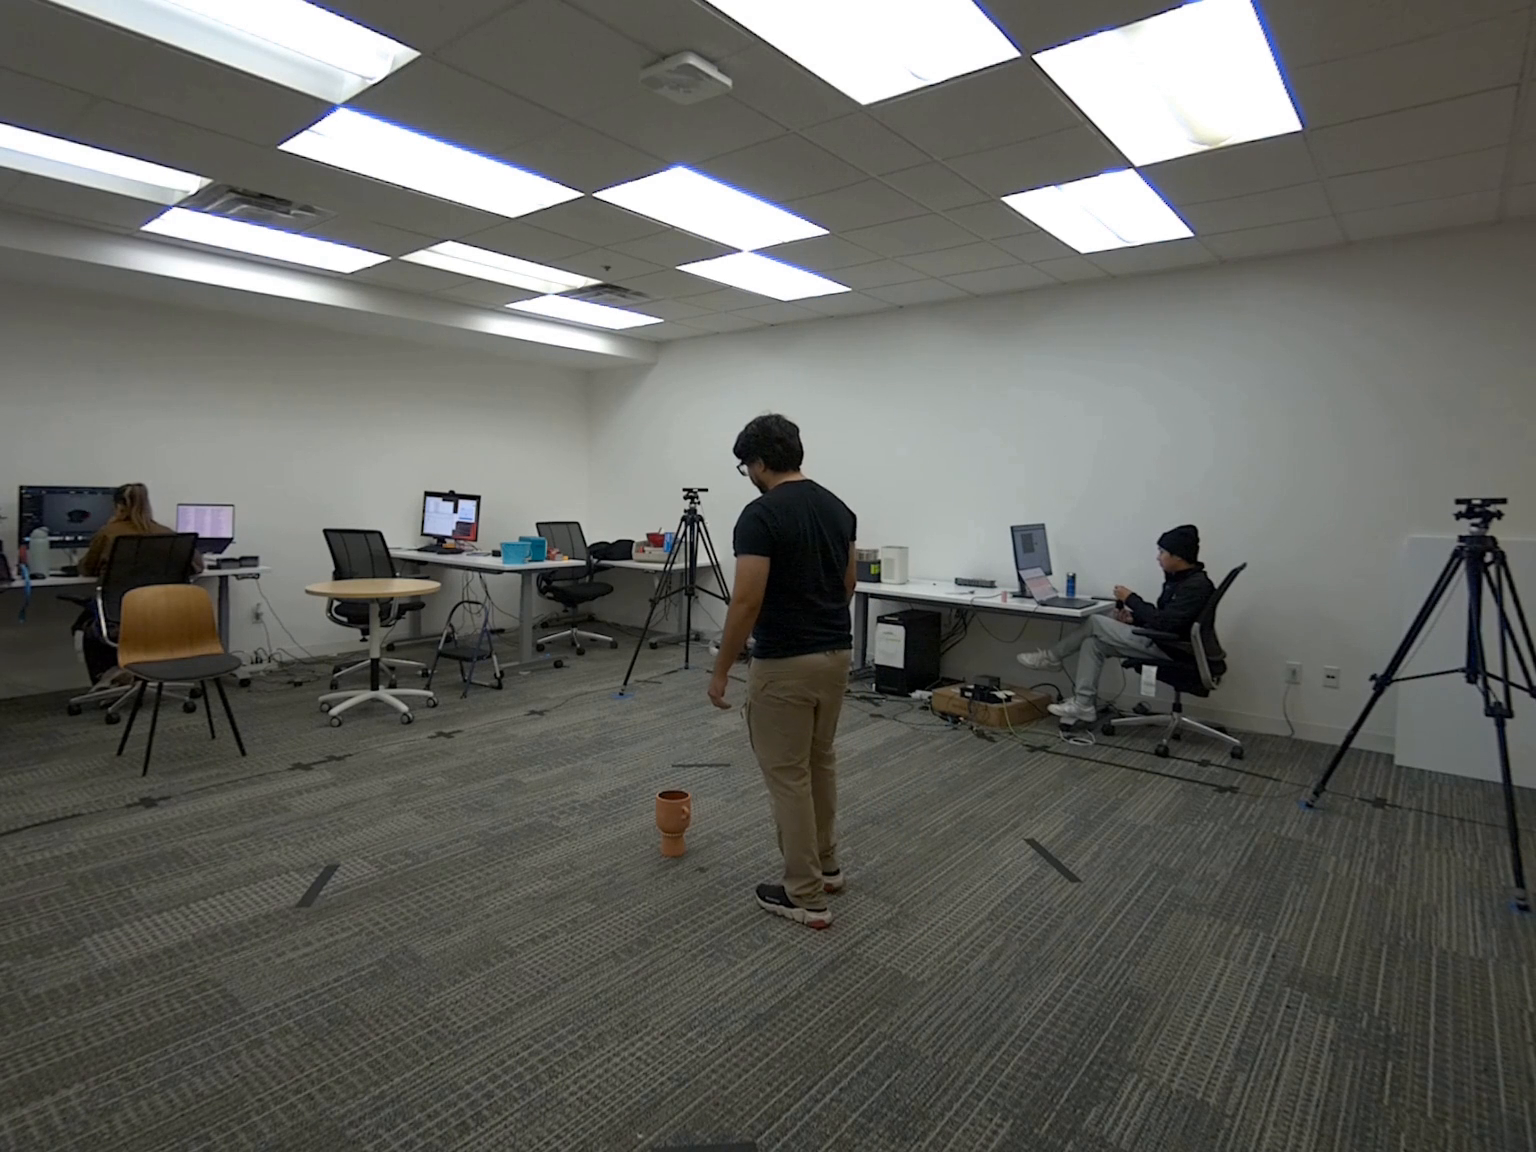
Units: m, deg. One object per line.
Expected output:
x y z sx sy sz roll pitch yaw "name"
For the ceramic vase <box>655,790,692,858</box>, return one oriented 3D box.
-0.375 0.938 3.255 0.134 0.219 0.159 0 3 -2 "ceramic vase"
